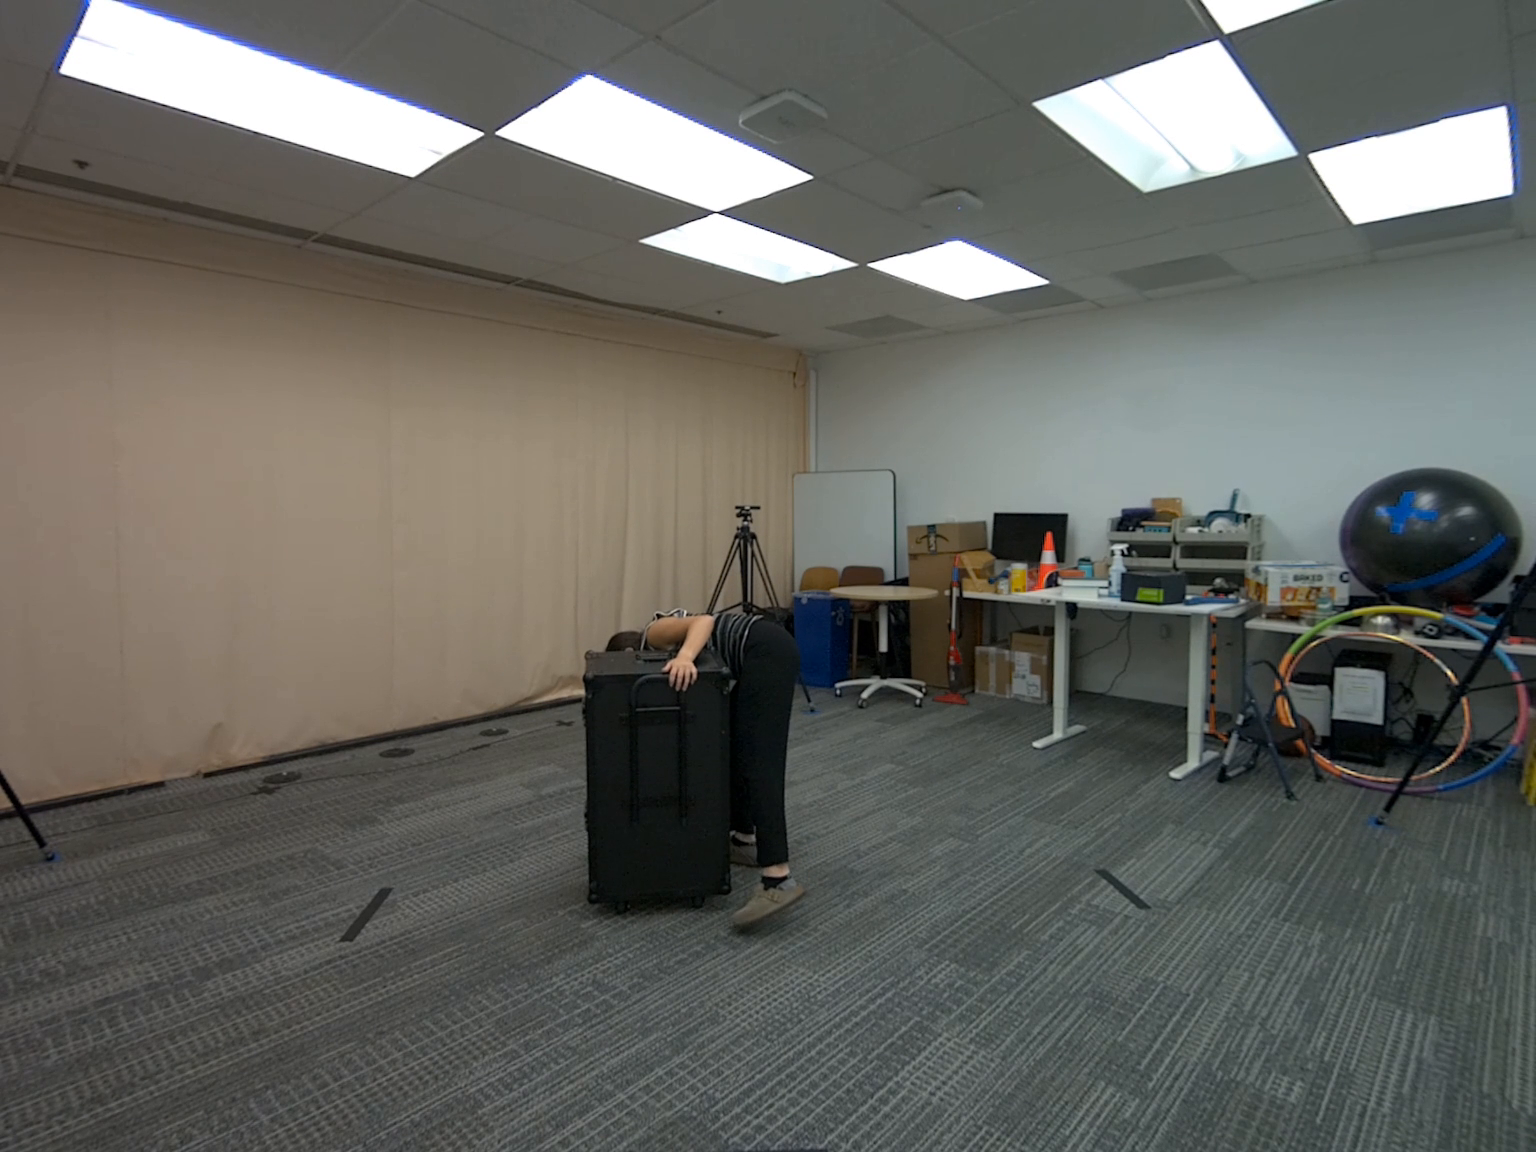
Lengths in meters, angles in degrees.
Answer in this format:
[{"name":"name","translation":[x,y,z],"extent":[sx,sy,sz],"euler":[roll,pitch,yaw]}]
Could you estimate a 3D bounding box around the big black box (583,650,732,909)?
[{"name":"big black box","translation":[-0.397,0.716,2.972],"extent":[0.518,0.858,0.400],"euler":[0,6,-6]}]
